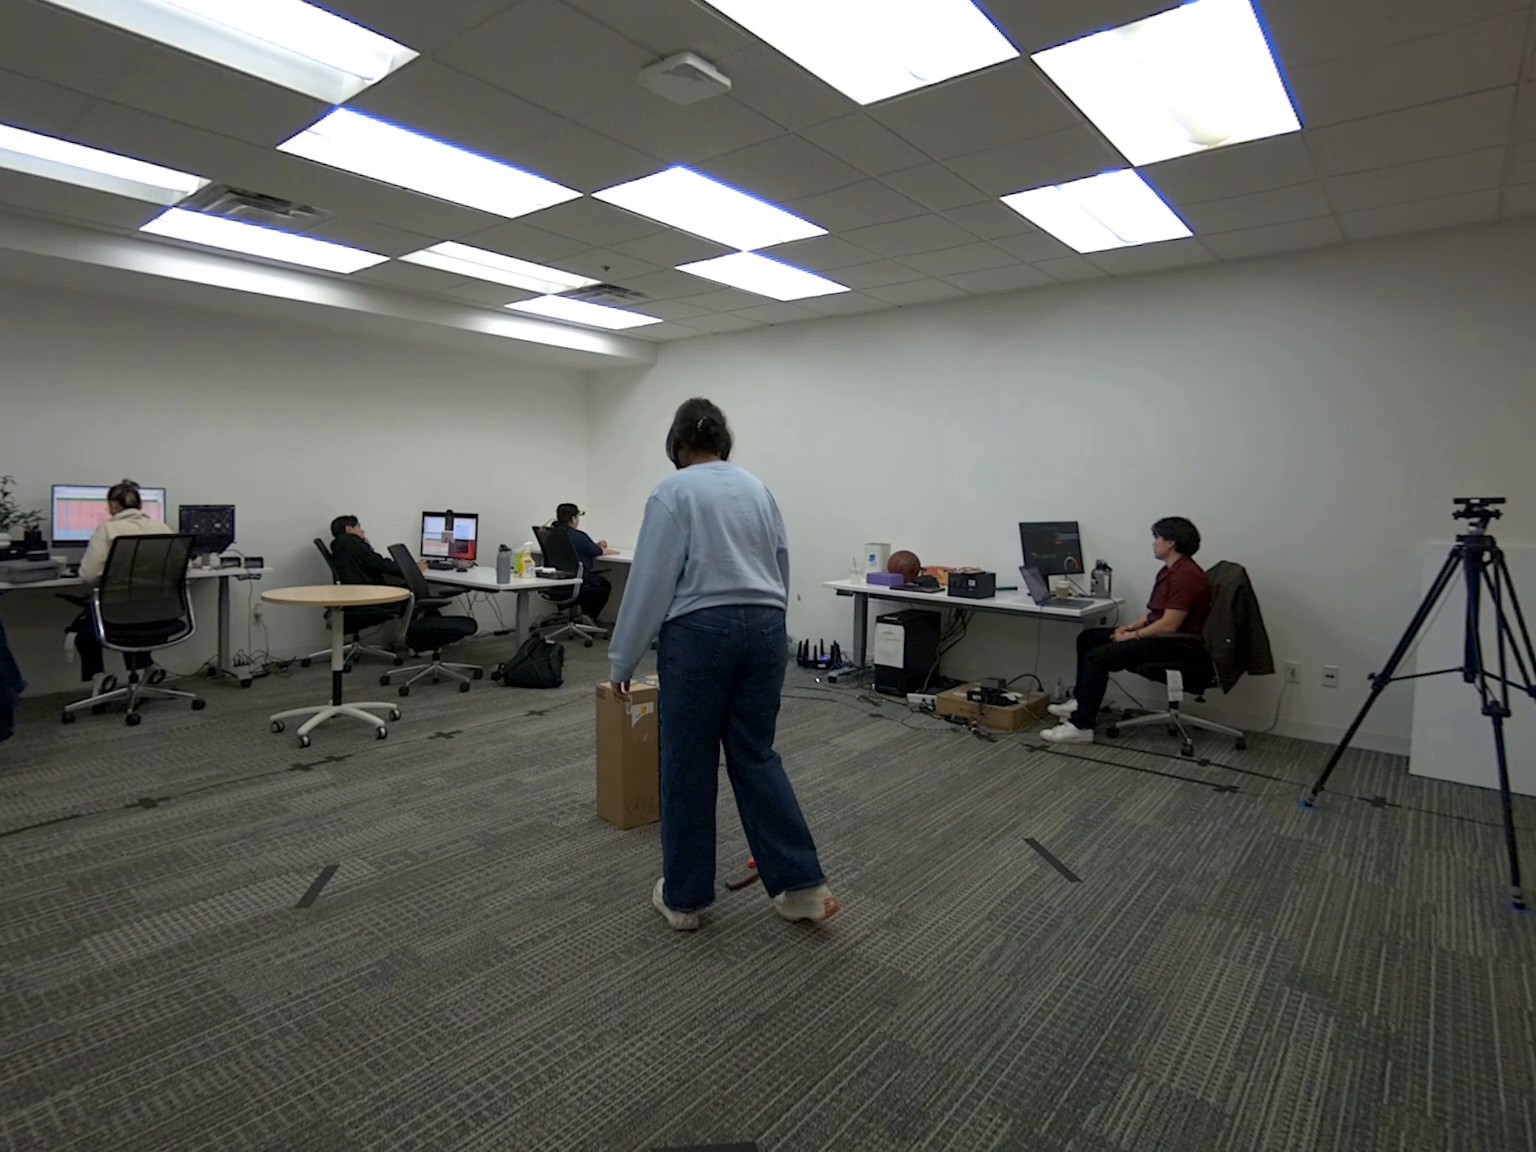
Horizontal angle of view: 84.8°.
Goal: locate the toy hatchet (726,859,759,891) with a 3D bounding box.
[{"bbox_3d":[-0.087,1.060,3.073,0.262,0.029,0.136,-5,9,-45],"label":"toy hatchet"}]
